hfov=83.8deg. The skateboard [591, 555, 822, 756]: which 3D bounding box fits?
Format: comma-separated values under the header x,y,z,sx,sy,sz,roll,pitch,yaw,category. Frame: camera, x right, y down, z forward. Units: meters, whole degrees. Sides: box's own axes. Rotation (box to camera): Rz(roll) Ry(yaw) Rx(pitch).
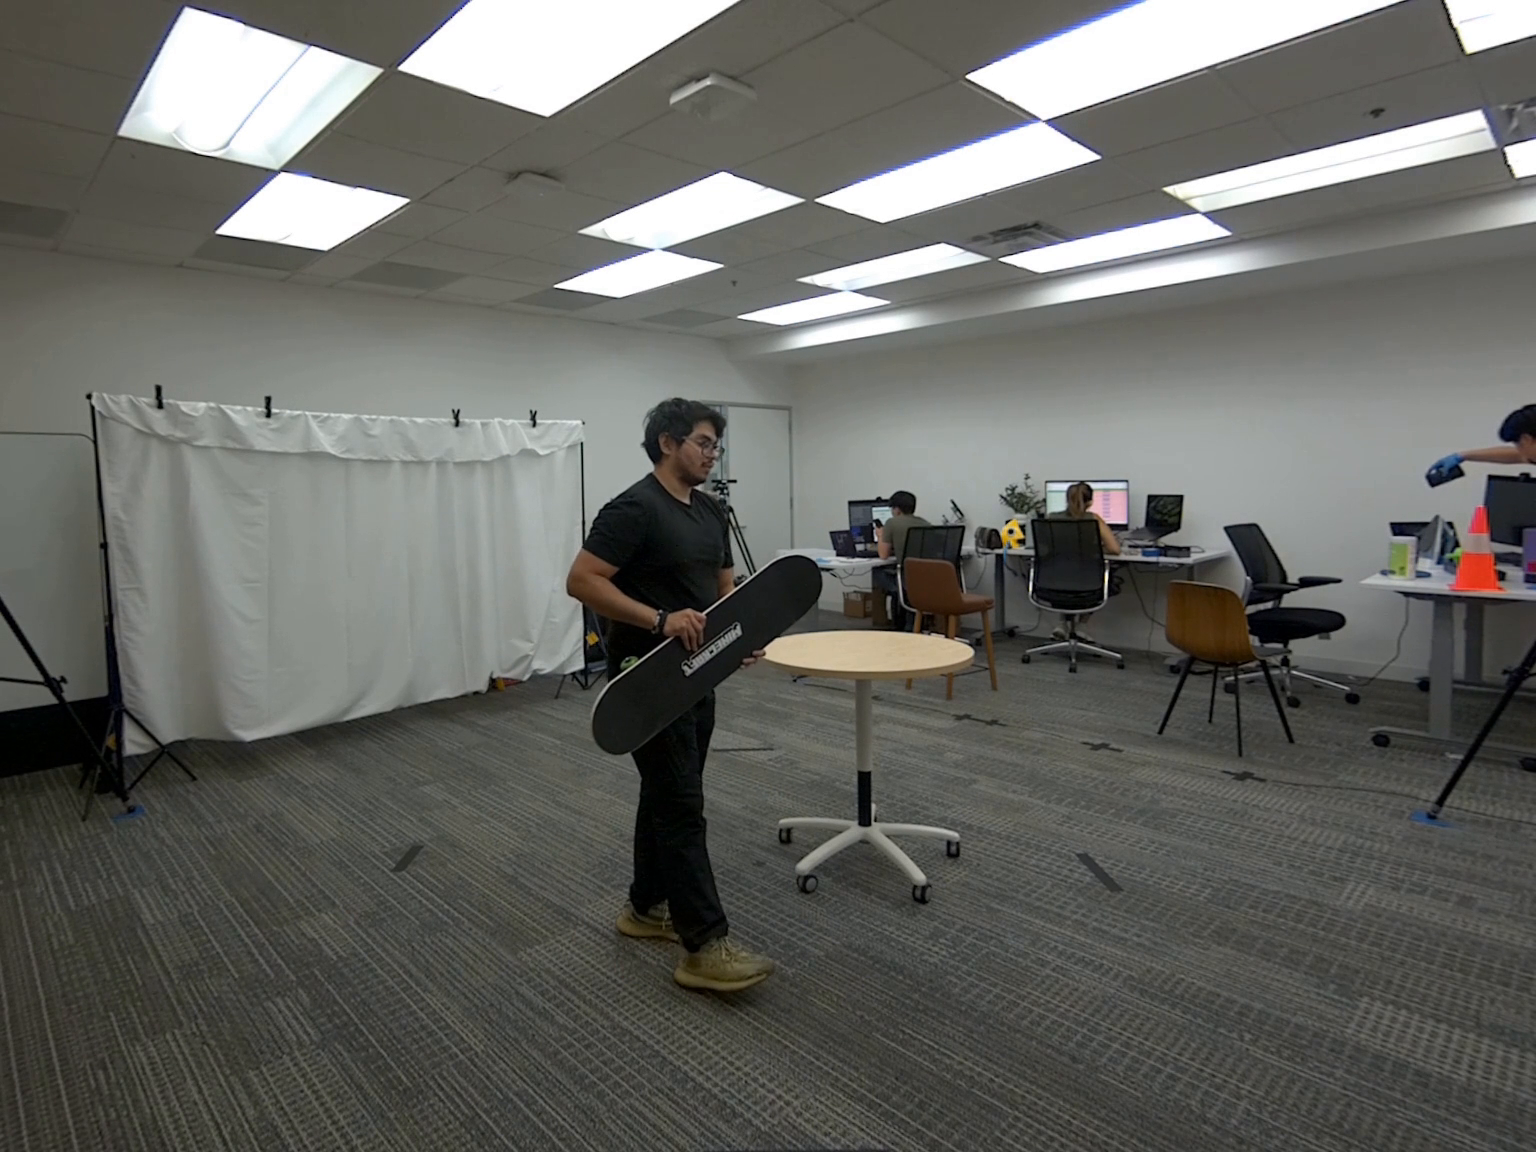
x,y,z,sx,sy,sz,roll,pitch,yaw,category
-0.160,0.198,2.312,0.782,0.189,0.113,-38,23,-23,skateboard
